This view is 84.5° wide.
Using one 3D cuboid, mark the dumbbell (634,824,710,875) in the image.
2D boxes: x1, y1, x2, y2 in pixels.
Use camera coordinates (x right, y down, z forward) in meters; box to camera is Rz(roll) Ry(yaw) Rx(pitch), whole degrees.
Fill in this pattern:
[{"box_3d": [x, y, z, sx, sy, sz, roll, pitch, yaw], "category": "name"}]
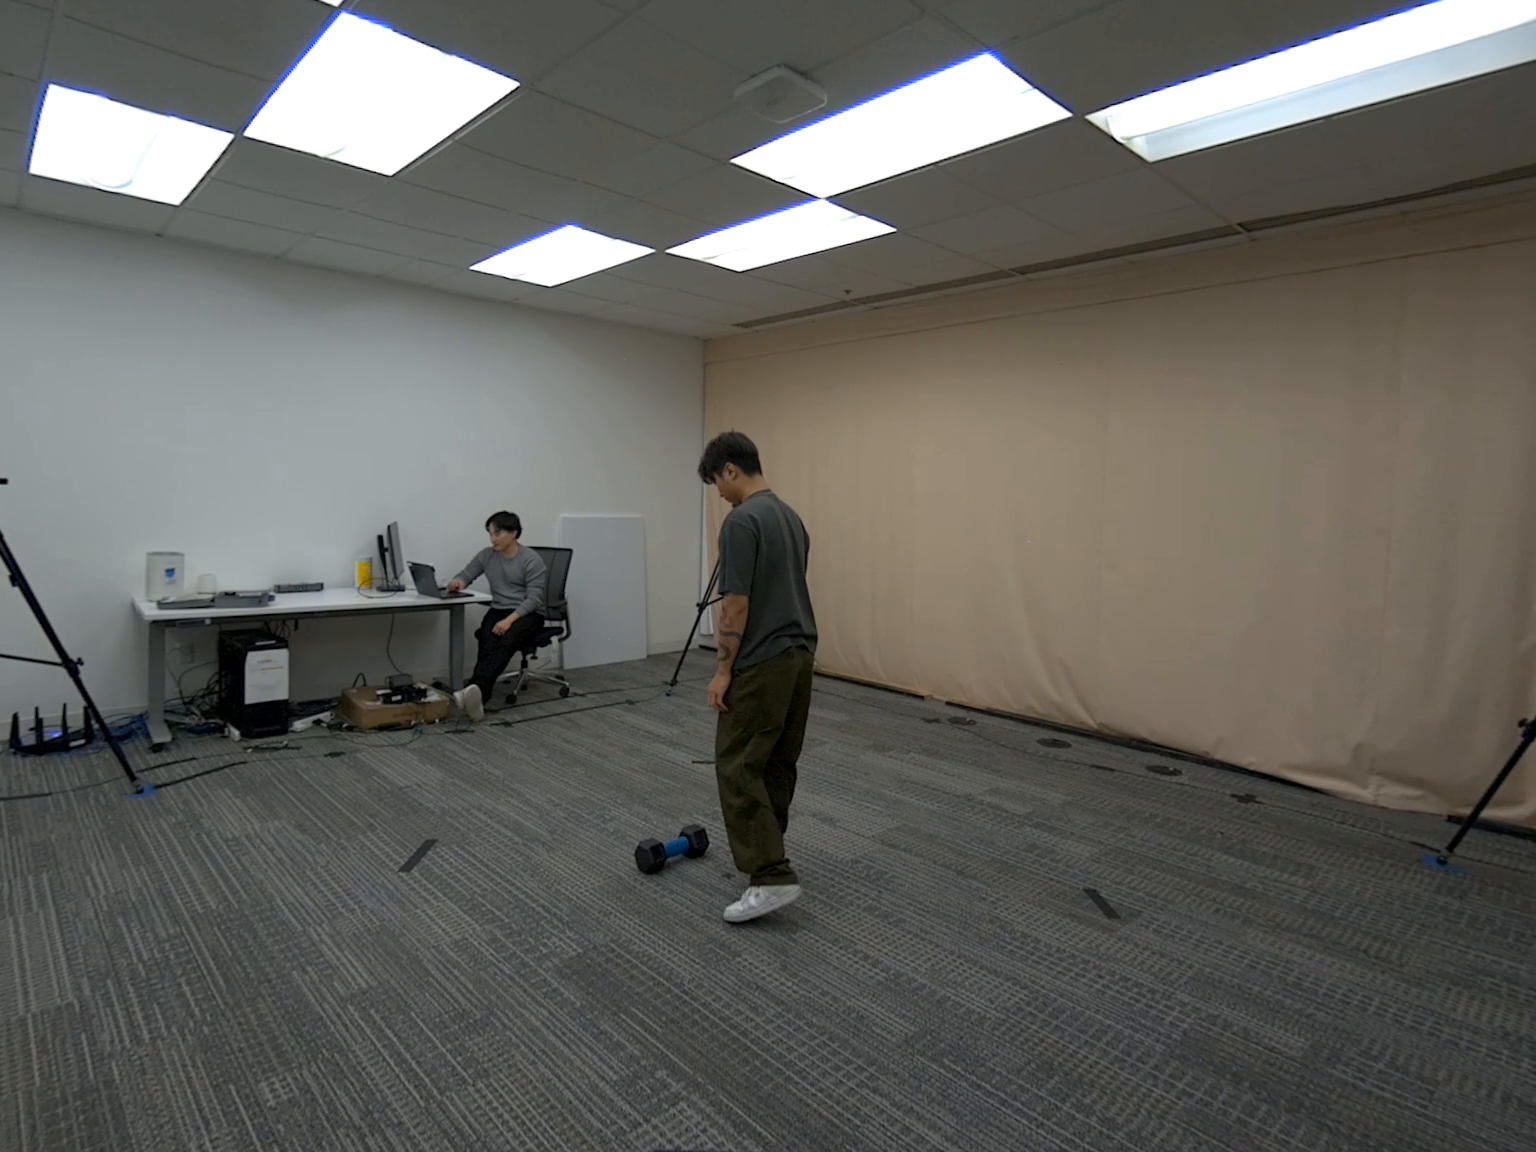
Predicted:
[{"box_3d": [-0.370, 1.037, 3.206, 0.287, 0.125, 0.109, -4, -24, -44], "category": "dumbbell"}]
